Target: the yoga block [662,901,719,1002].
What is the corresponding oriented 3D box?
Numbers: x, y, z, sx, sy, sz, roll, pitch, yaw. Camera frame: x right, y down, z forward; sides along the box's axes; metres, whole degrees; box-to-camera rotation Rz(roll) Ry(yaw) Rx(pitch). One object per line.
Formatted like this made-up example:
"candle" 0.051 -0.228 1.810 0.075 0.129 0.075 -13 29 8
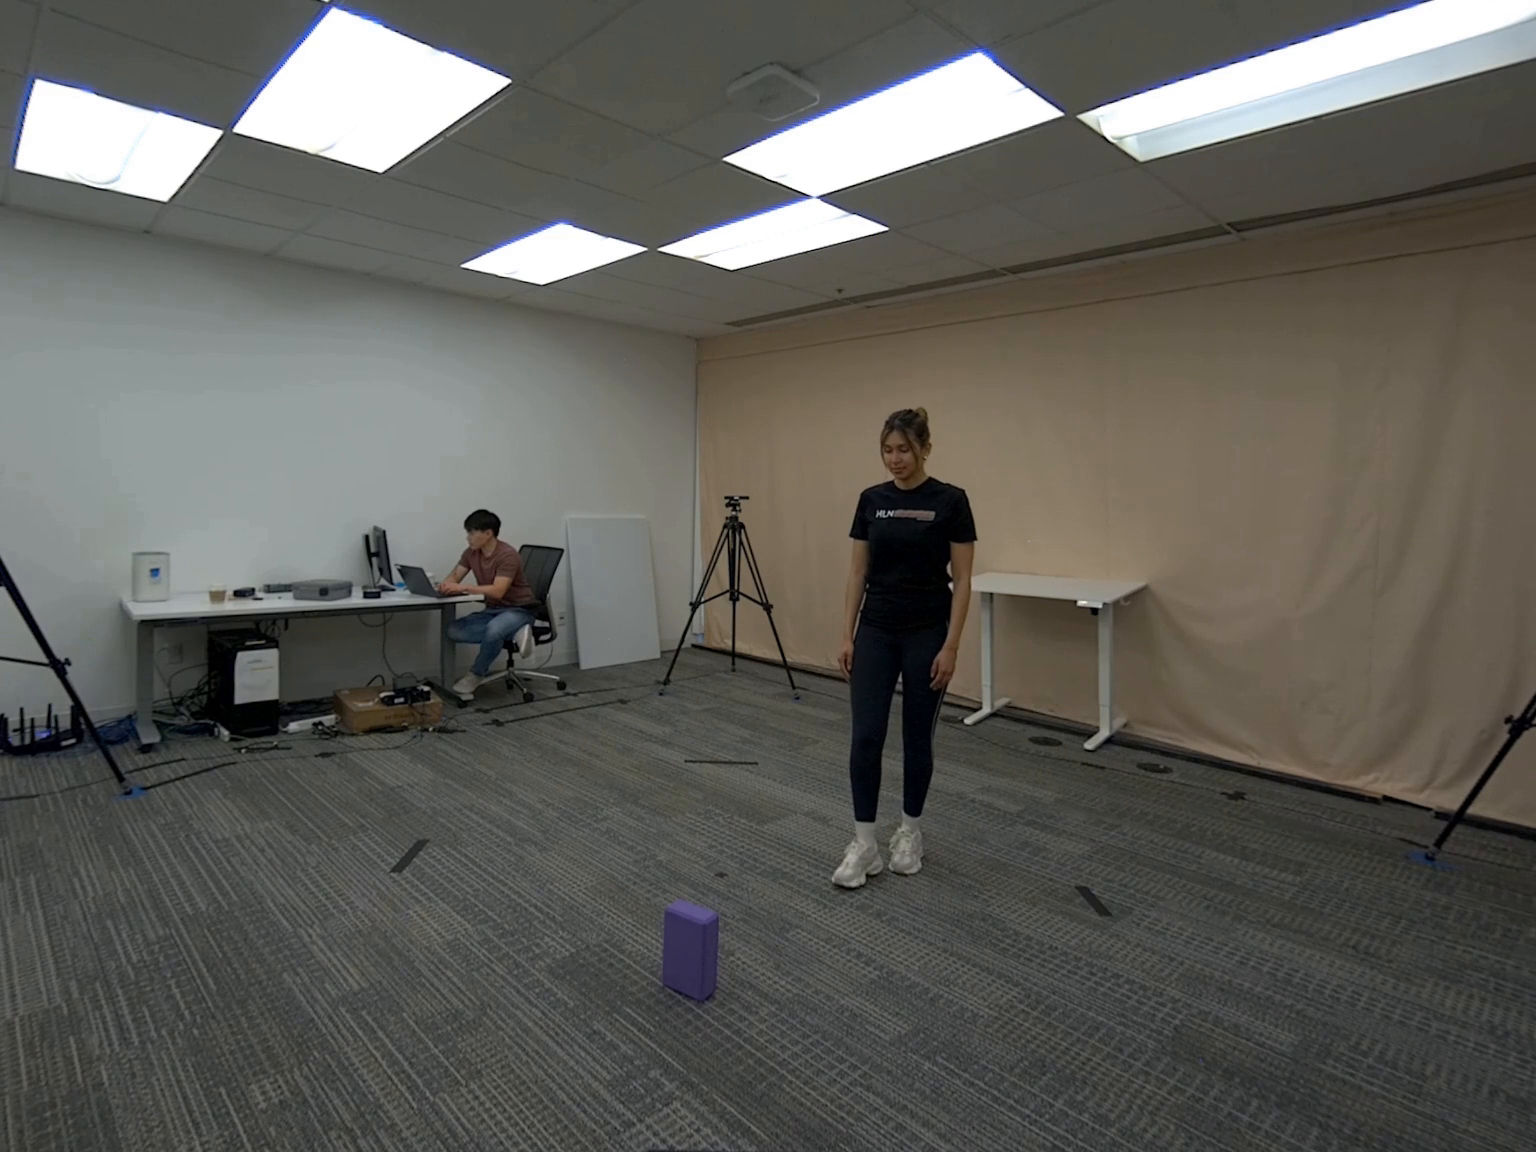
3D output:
"yoga block" -0.224 1.054 2.368 0.152 0.229 0.075 3 2 31
